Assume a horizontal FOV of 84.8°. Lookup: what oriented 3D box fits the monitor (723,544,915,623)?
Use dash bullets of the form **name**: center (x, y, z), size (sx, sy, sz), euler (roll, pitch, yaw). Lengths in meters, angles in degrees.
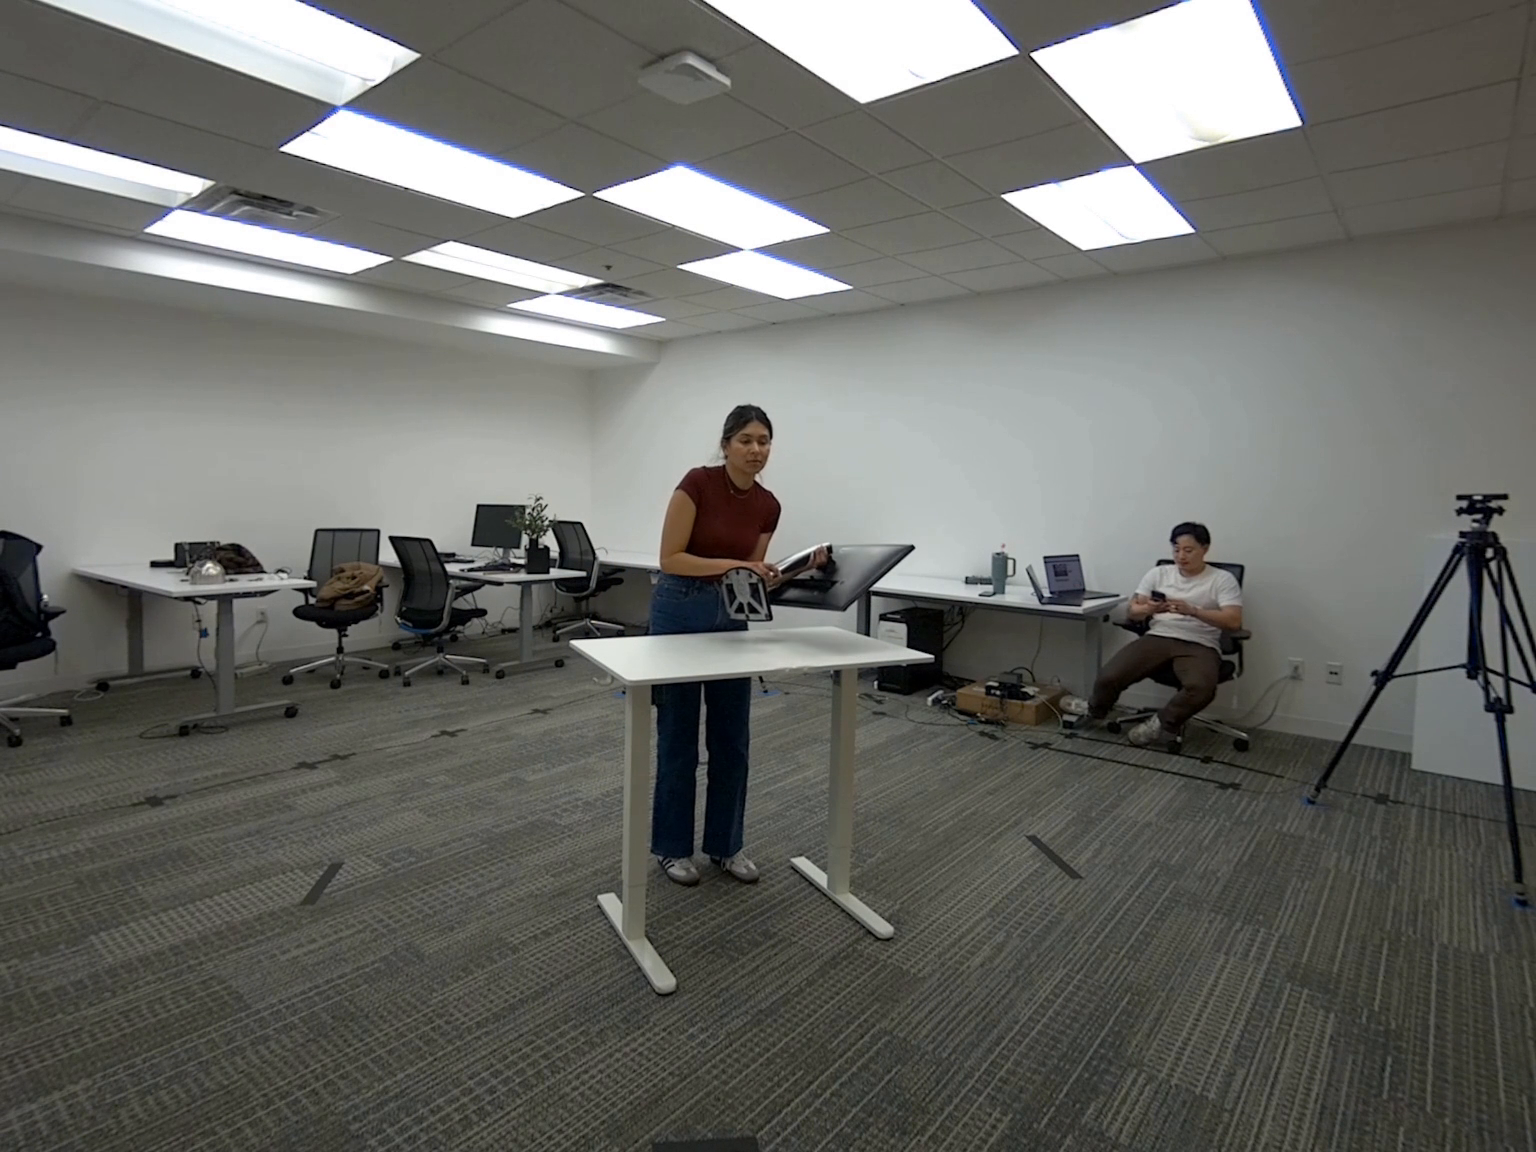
- **monitor**: center (0.118, -0.001, 2.854), size (0.514, 0.185, 0.554), euler (-22, 13, -30)
